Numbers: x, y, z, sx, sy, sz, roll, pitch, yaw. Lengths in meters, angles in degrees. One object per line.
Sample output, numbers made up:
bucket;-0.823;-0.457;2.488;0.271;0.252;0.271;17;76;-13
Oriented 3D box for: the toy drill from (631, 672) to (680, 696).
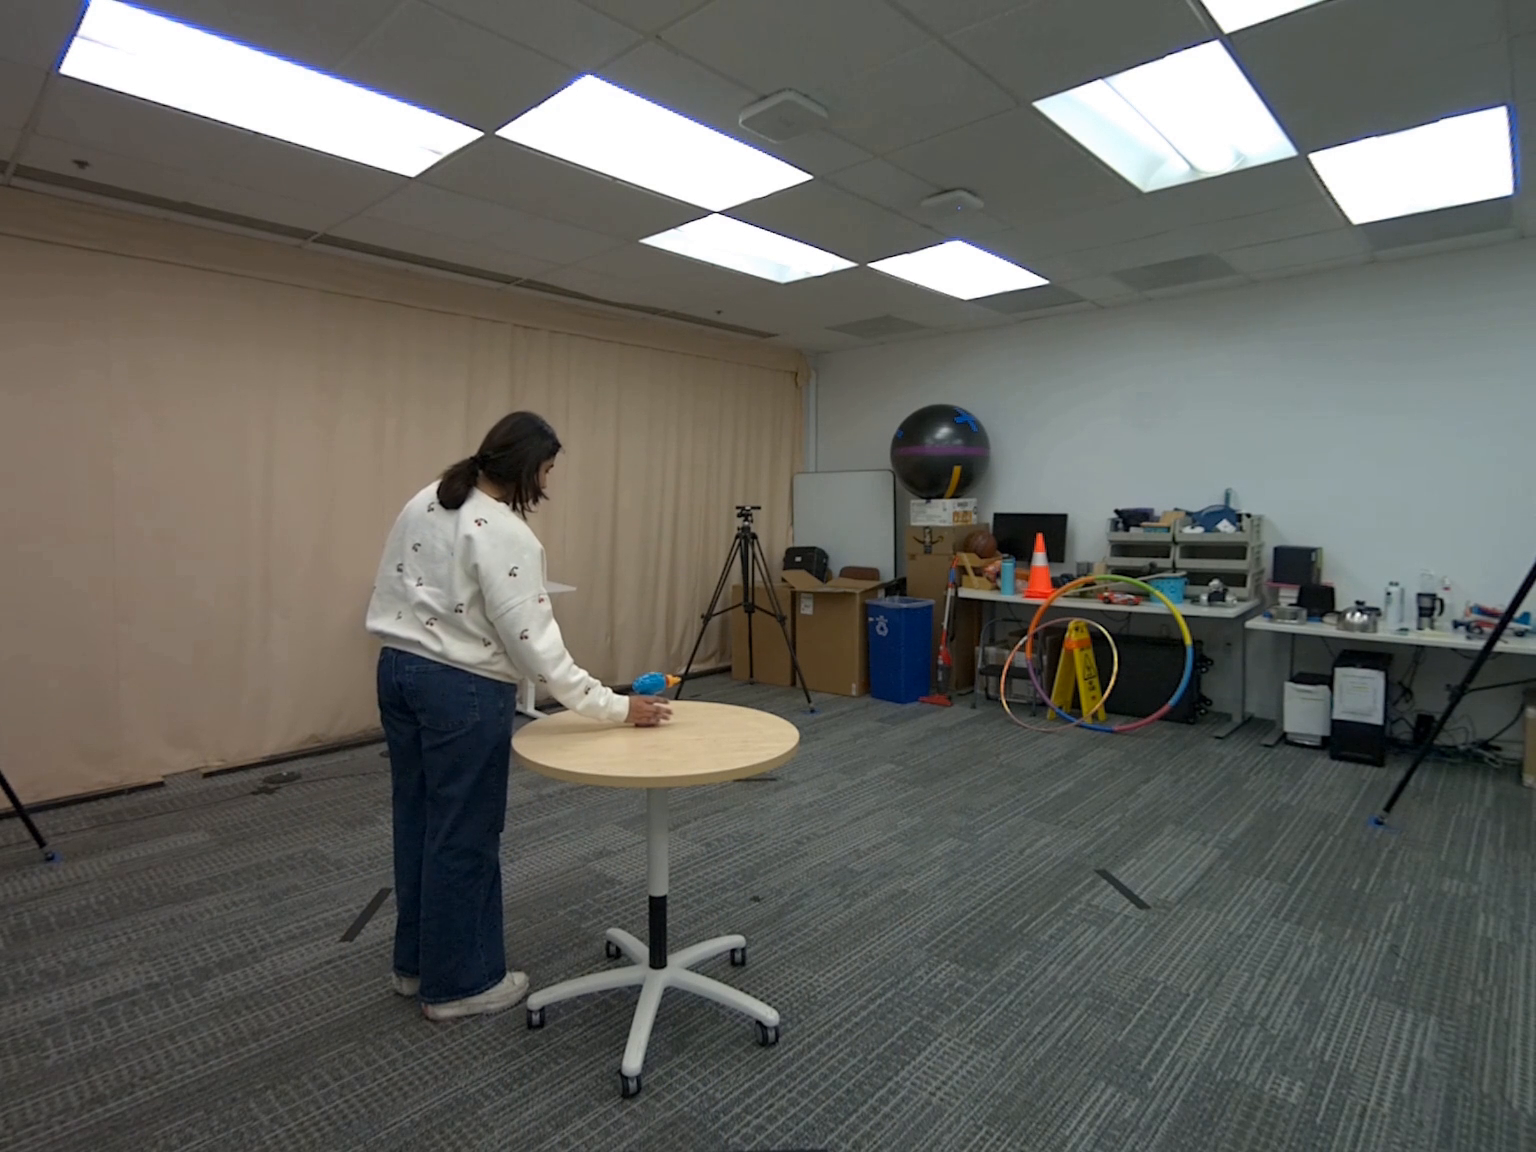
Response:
toy drill;-0.309;0.343;2.365;0.165;0.145;0.063;-5;6;-44
